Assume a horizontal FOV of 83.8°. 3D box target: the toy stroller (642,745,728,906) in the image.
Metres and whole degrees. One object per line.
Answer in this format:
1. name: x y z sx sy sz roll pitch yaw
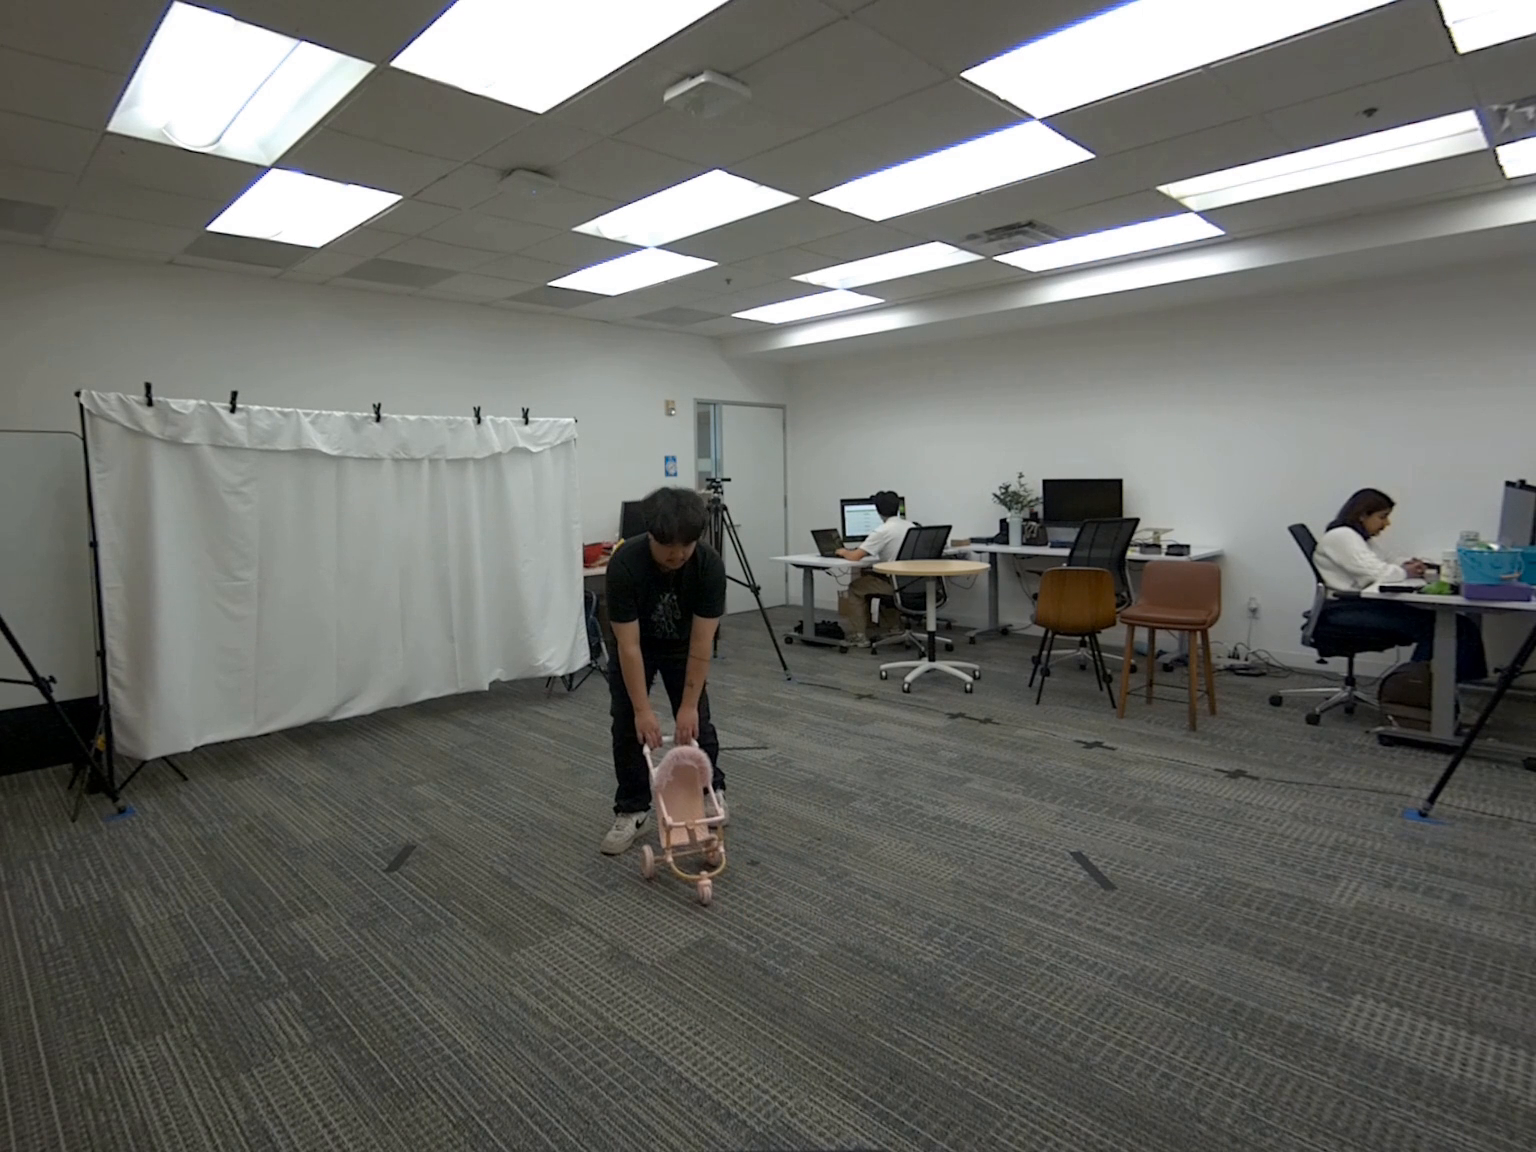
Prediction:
1. toy stroller: -0.285 0.835 2.974 0.277 0.540 0.344 -2 -10 -19
